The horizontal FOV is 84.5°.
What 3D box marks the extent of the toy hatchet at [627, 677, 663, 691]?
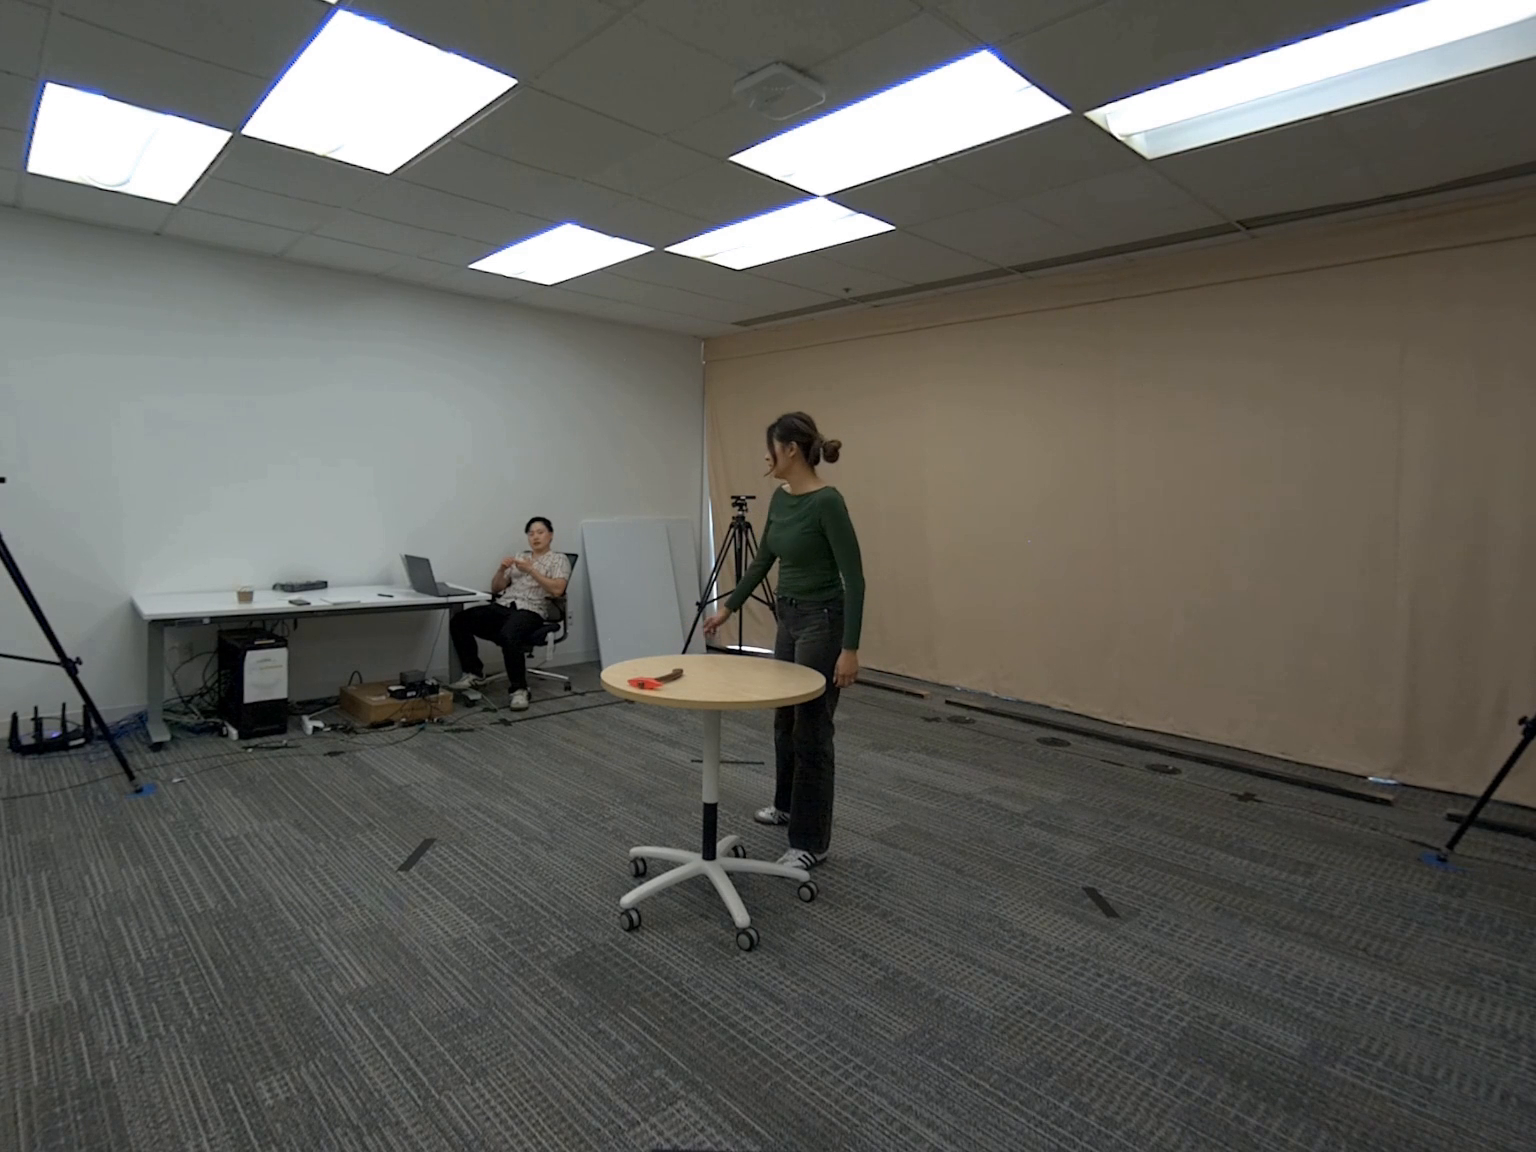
[{"bbox_3d":[-0.381,0.335,2.750,0.132,0.029,0.268,-1,2,7],"label":"toy hatchet"}]
